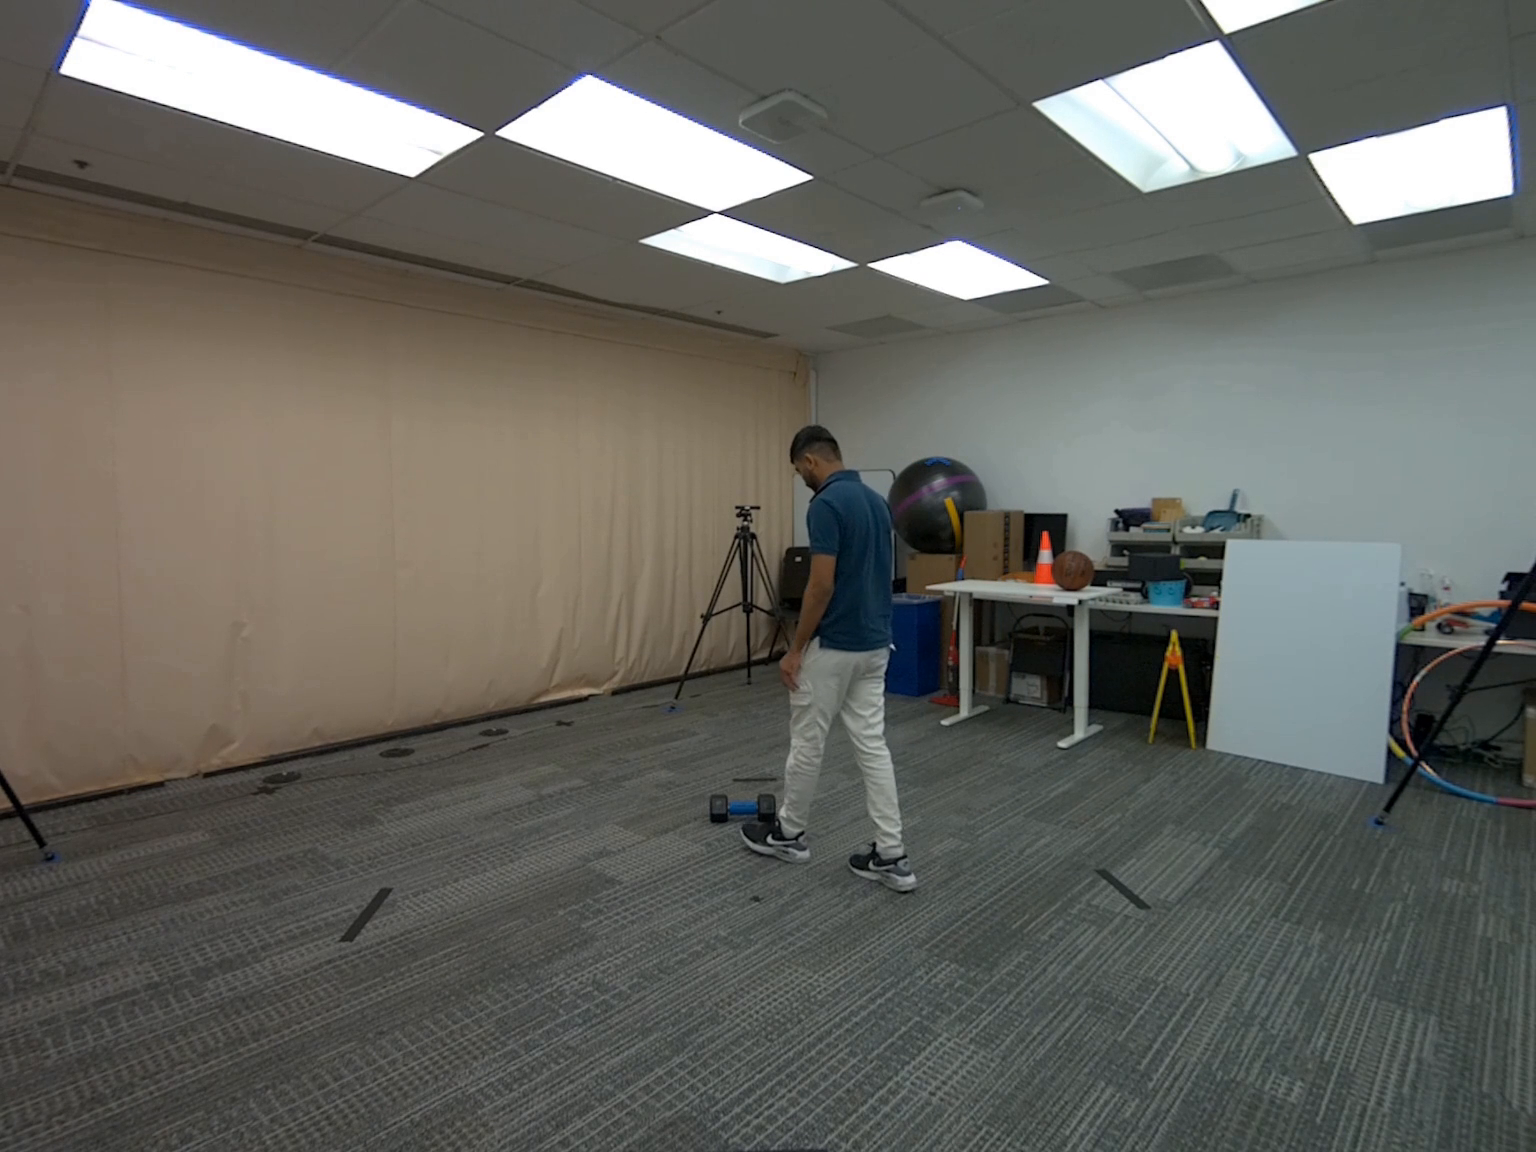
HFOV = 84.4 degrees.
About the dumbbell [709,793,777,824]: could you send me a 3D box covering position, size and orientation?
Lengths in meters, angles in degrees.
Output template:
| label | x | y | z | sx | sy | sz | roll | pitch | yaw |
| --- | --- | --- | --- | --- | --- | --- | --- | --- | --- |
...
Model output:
| label | x | y | z | sx | sy | sz | roll | pitch | yaw |
| --- | --- | --- | --- | --- | --- | --- | --- | --- | --- |
| dumbbell | -0.116 | 1.031 | 3.735 | 0.293 | 0.125 | 0.107 | 0 | -26 | -2 |
